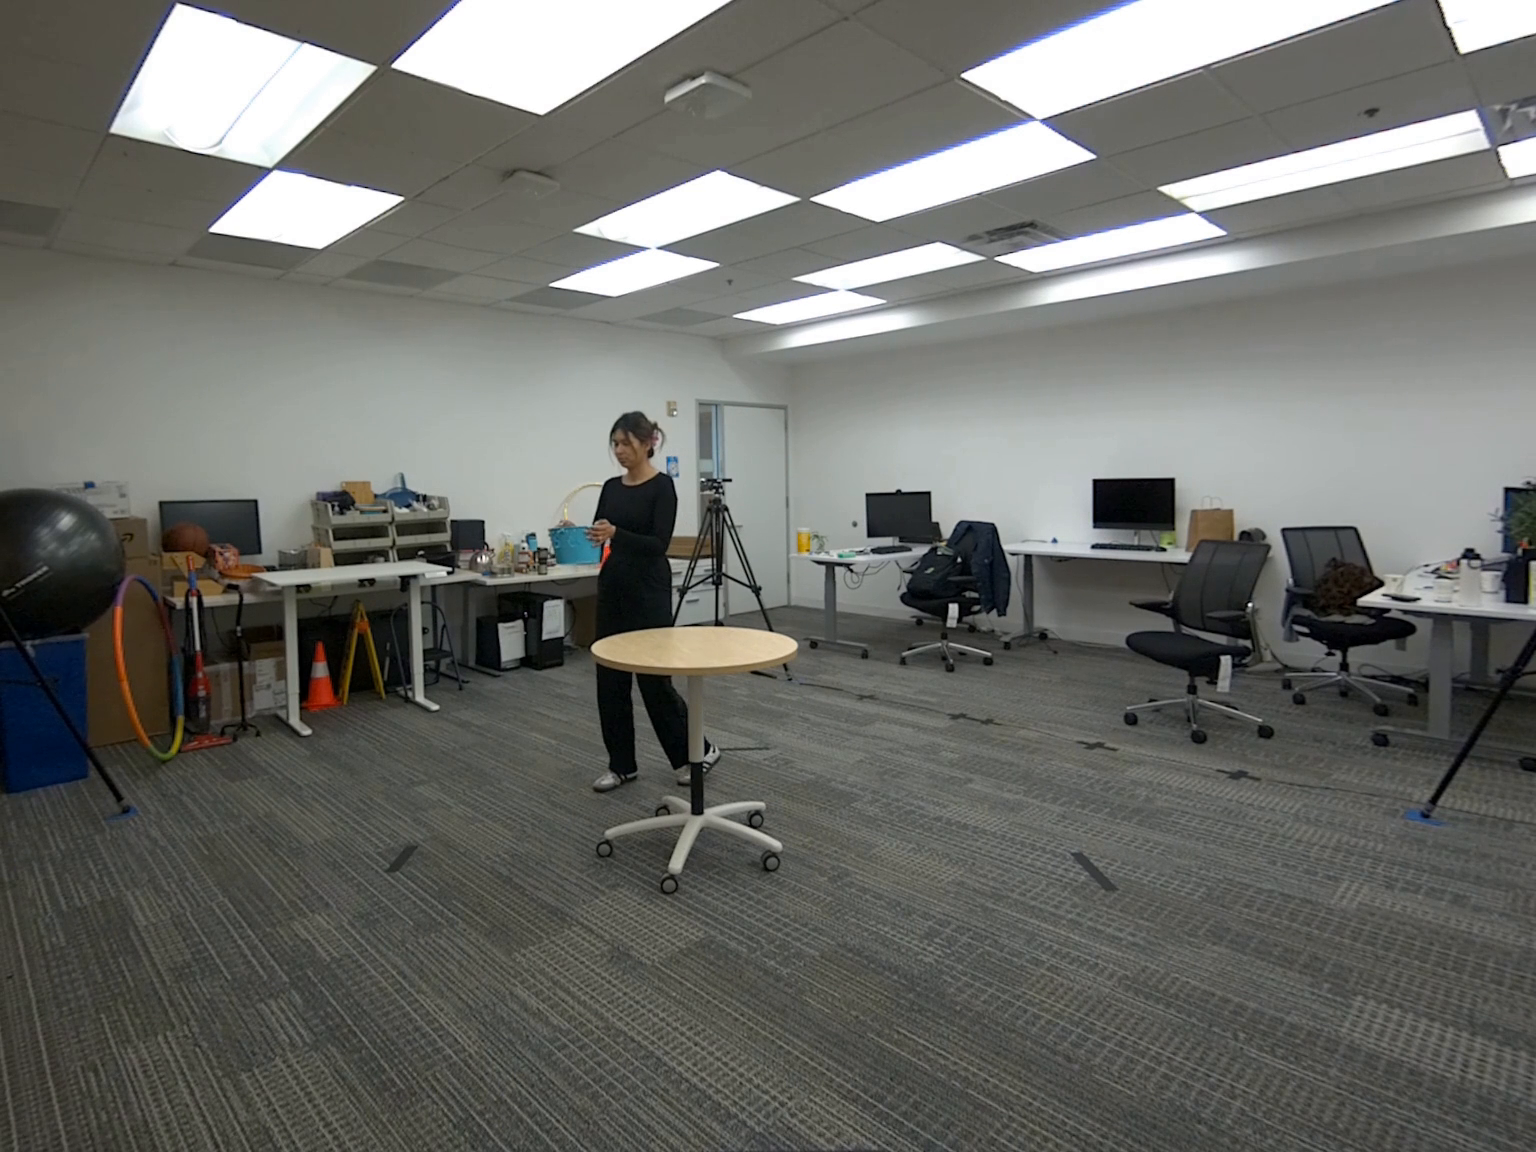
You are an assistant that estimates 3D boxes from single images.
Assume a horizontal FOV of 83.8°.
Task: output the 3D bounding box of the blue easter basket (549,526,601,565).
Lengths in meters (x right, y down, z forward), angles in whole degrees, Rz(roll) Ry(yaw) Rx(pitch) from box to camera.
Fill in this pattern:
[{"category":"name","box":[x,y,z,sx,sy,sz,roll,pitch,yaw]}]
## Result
[{"category":"blue easter basket","box":[-0.825,-0.121,3.607,0.243,0.156,0.244,-4,2,-2]}]
